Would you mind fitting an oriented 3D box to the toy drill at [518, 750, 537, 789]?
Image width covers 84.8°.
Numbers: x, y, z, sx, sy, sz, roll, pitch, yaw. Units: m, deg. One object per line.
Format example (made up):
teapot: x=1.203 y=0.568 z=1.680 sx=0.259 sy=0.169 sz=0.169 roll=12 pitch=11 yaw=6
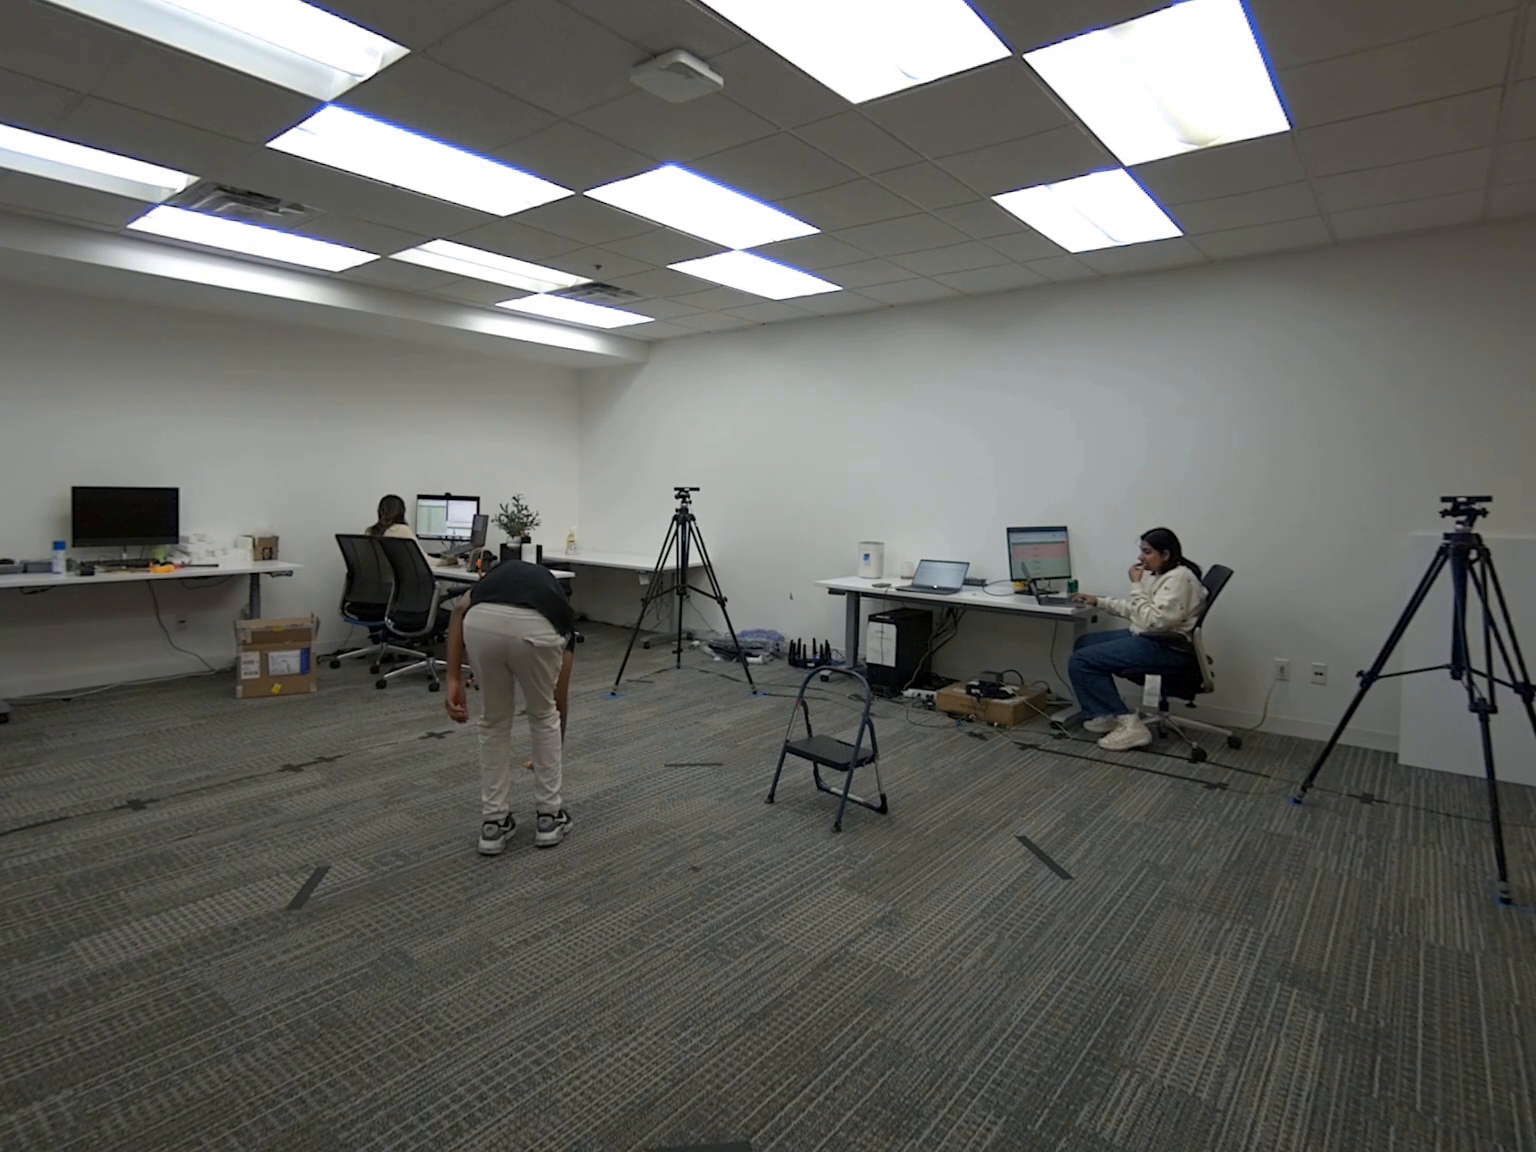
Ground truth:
toy drill: x=-1.005 y=0.846 z=3.678 sx=0.174 sy=0.146 sz=0.059 roll=-1 pitch=-2 yaw=23
